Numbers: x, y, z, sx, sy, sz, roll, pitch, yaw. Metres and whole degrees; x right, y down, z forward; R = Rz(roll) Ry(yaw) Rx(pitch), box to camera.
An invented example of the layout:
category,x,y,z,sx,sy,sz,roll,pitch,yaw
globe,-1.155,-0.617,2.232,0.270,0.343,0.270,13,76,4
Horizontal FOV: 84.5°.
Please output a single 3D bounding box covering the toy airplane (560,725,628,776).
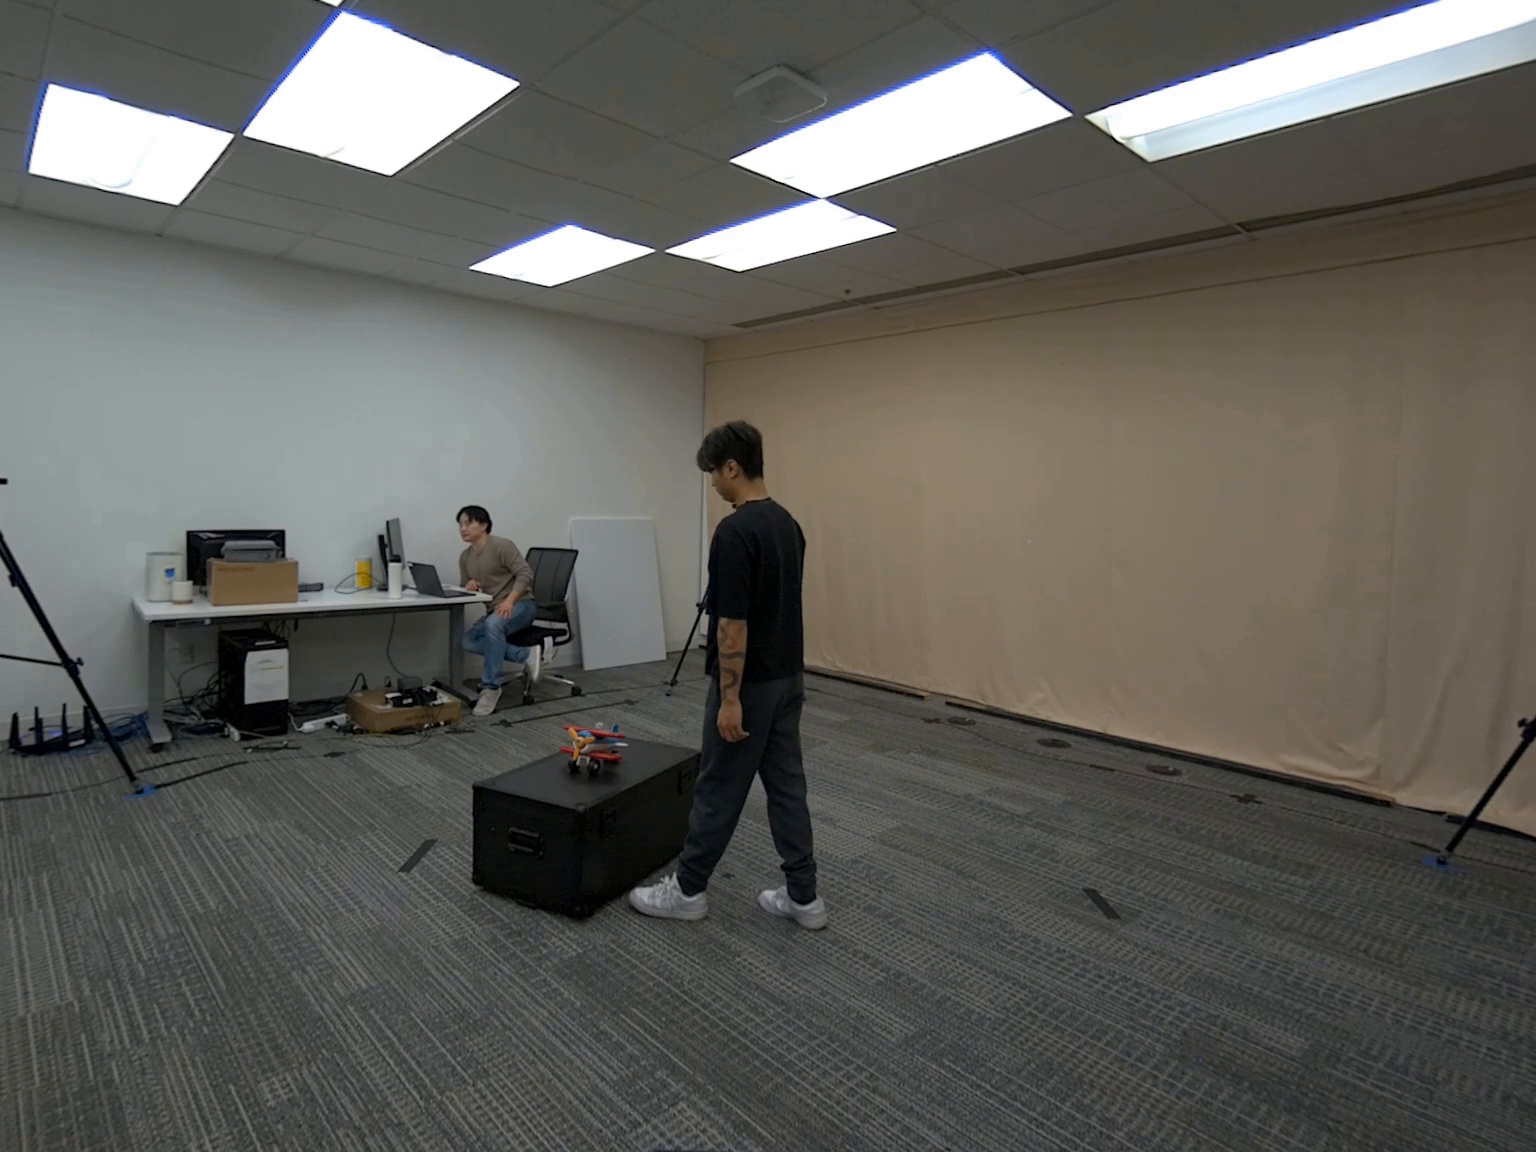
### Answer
category,x,y,z,sx,sy,sz,roll,pitch,yaw
toy airplane,-0.667,0.638,3.180,0.250,0.156,0.261,1,6,-4
